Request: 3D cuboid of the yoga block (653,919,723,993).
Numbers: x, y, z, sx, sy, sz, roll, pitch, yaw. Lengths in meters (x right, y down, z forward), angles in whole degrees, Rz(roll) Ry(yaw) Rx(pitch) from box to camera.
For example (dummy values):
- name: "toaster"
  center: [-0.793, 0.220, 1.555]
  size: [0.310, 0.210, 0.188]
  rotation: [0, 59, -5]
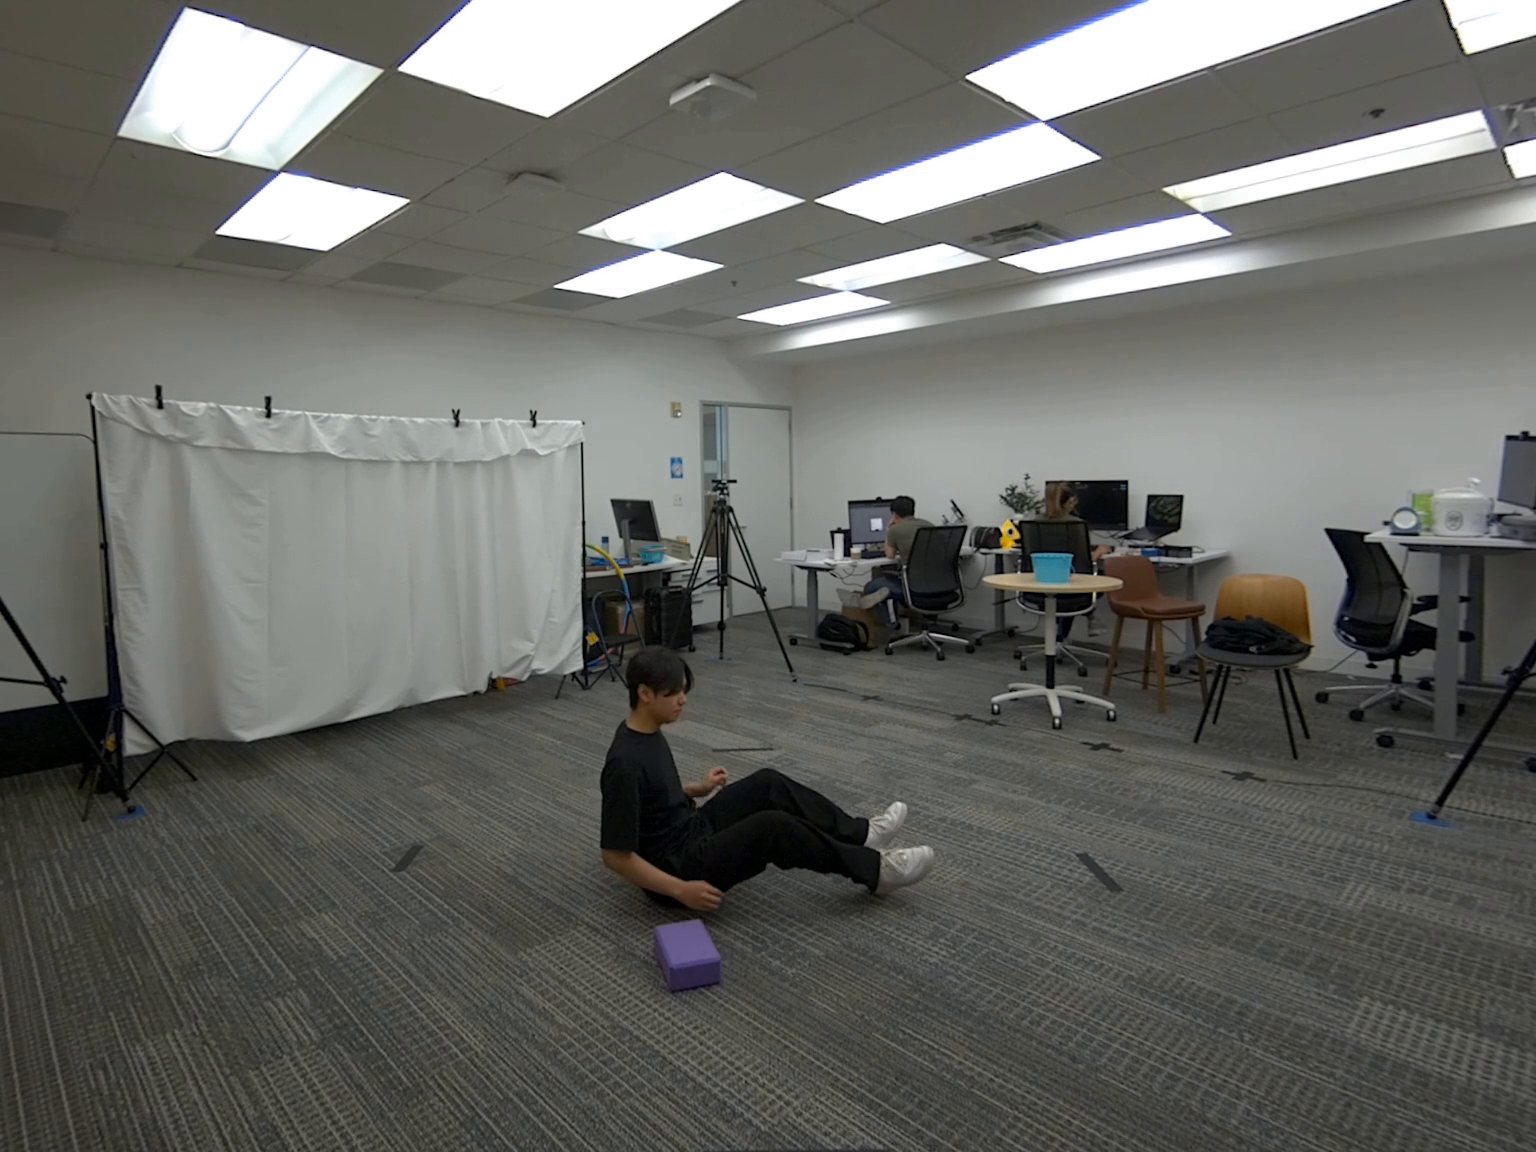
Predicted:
- name: "yoga block"
  center: [-0.236, 1.091, 2.460]
  size: [0.147, 0.076, 0.234]
  rotation: [-3, 6, -17]
